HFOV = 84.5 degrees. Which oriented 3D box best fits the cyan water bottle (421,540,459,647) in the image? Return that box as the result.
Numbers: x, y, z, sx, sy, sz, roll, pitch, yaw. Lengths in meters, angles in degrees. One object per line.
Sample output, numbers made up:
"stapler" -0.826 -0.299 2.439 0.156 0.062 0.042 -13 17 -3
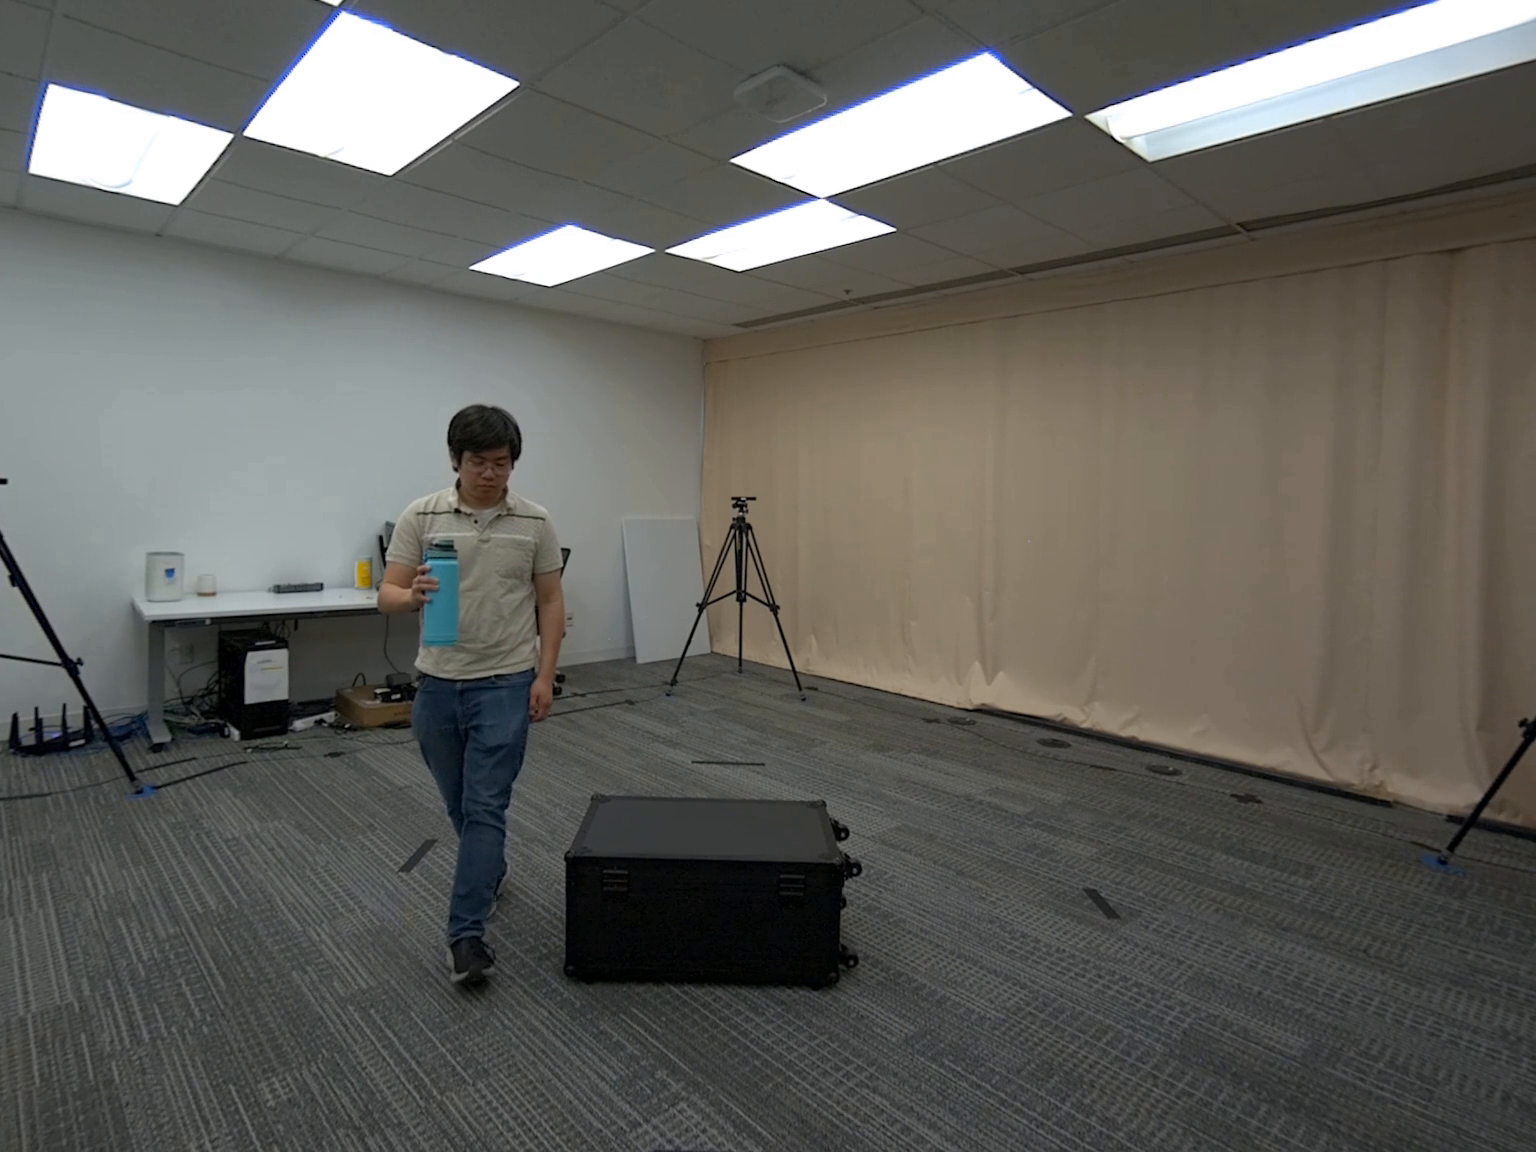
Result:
"cyan water bottle" -0.900 0.047 2.257 0.092 0.284 0.092 -4 -1 -1
